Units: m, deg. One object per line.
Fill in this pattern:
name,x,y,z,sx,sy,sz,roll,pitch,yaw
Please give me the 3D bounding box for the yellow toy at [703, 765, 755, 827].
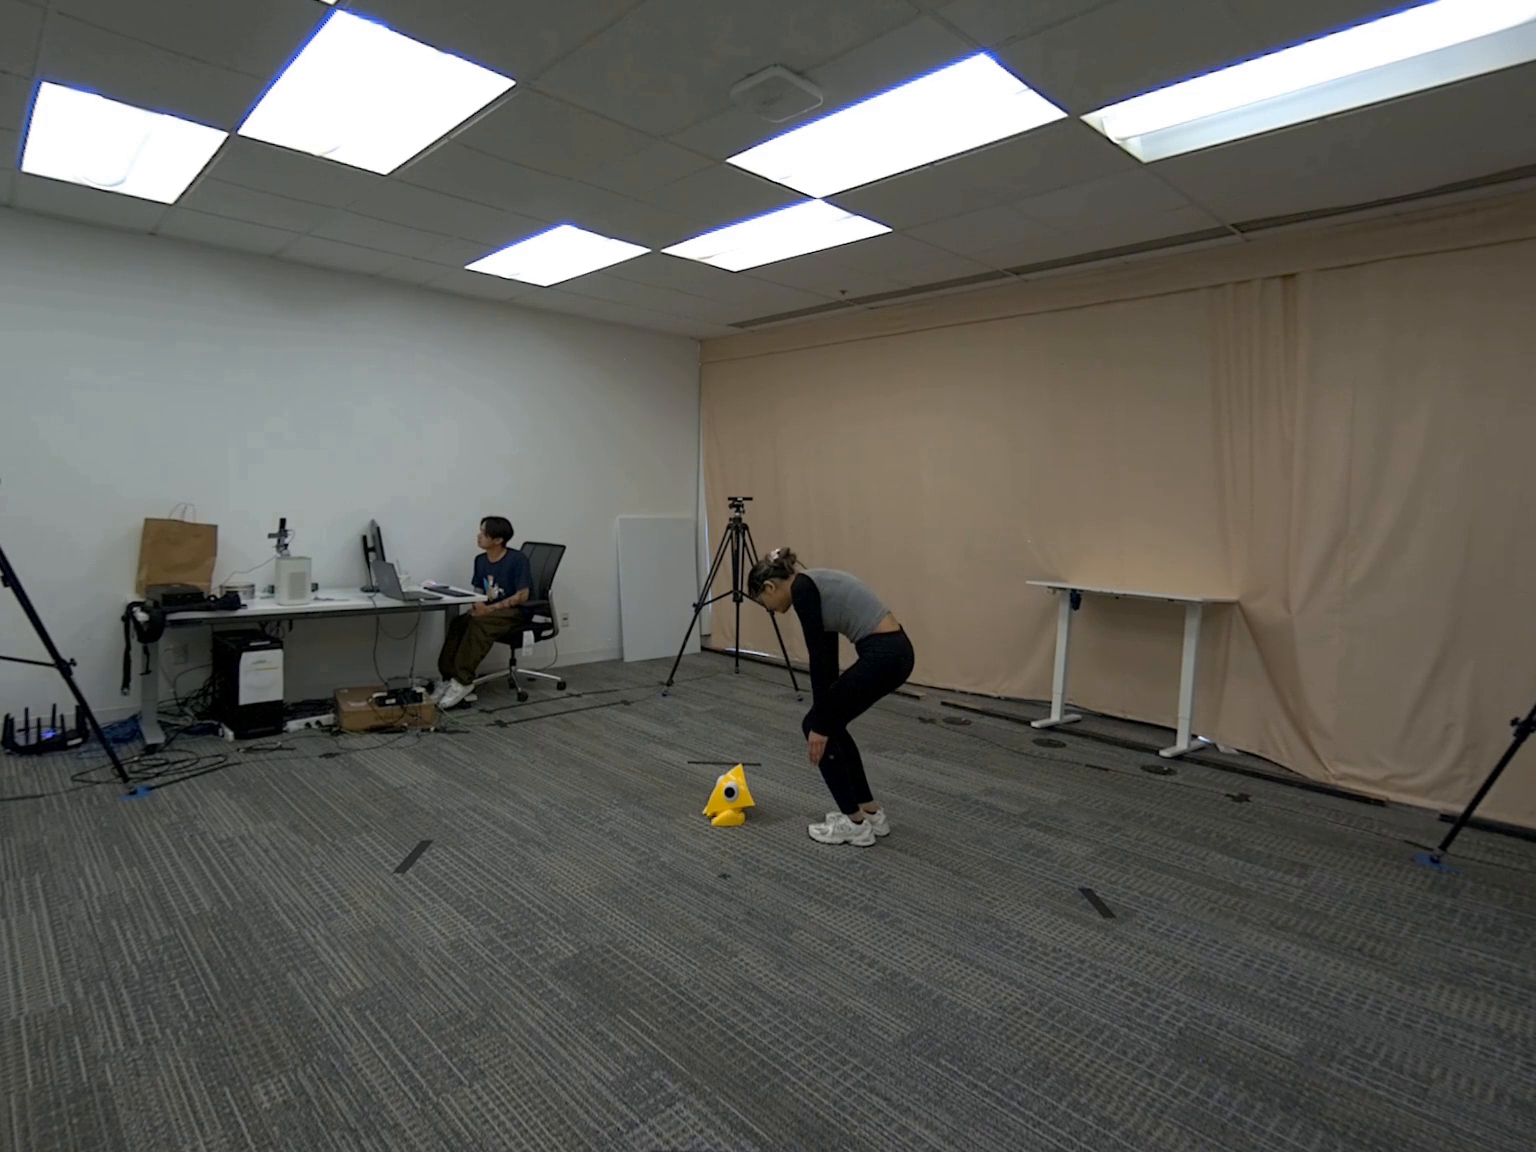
yellow toy,-0.179,0.935,3.686,0.190,0.230,0.208,2,5,-18
